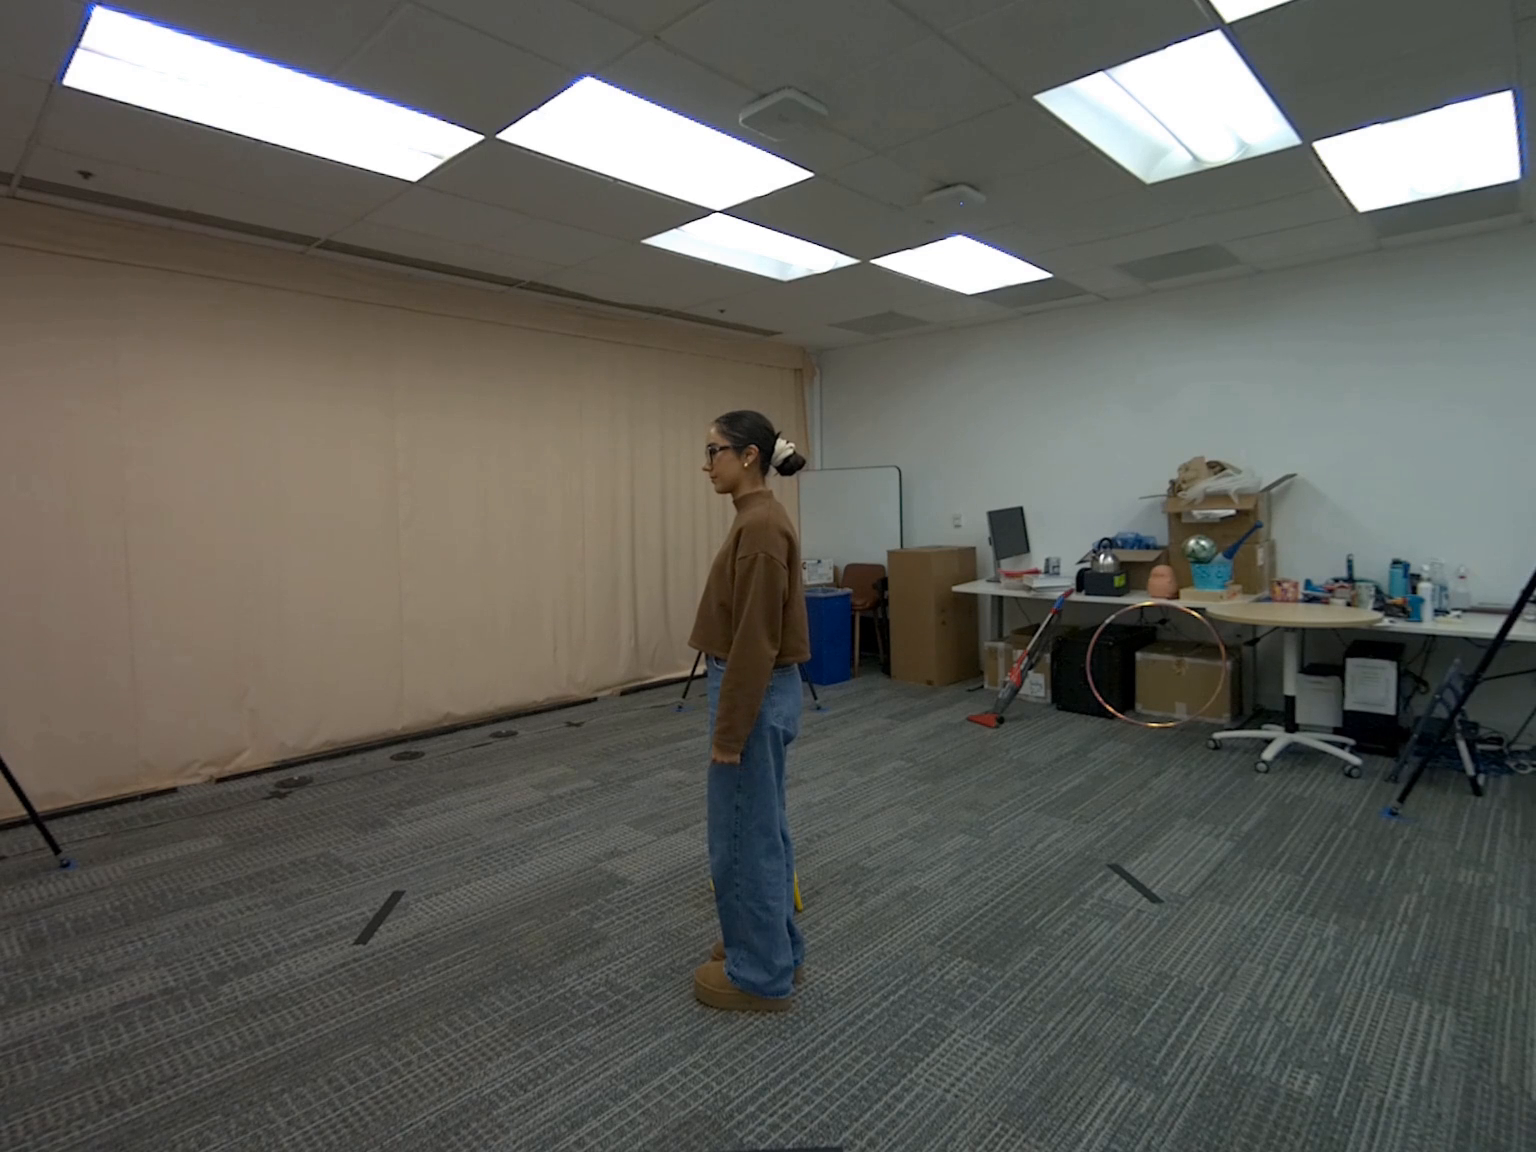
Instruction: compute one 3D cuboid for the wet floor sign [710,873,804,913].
[{"bbox_3d":[-0.049,0.815,2.970,0.286,0.645,0.286,-2,3,-12],"label":"wet floor sign"}]
